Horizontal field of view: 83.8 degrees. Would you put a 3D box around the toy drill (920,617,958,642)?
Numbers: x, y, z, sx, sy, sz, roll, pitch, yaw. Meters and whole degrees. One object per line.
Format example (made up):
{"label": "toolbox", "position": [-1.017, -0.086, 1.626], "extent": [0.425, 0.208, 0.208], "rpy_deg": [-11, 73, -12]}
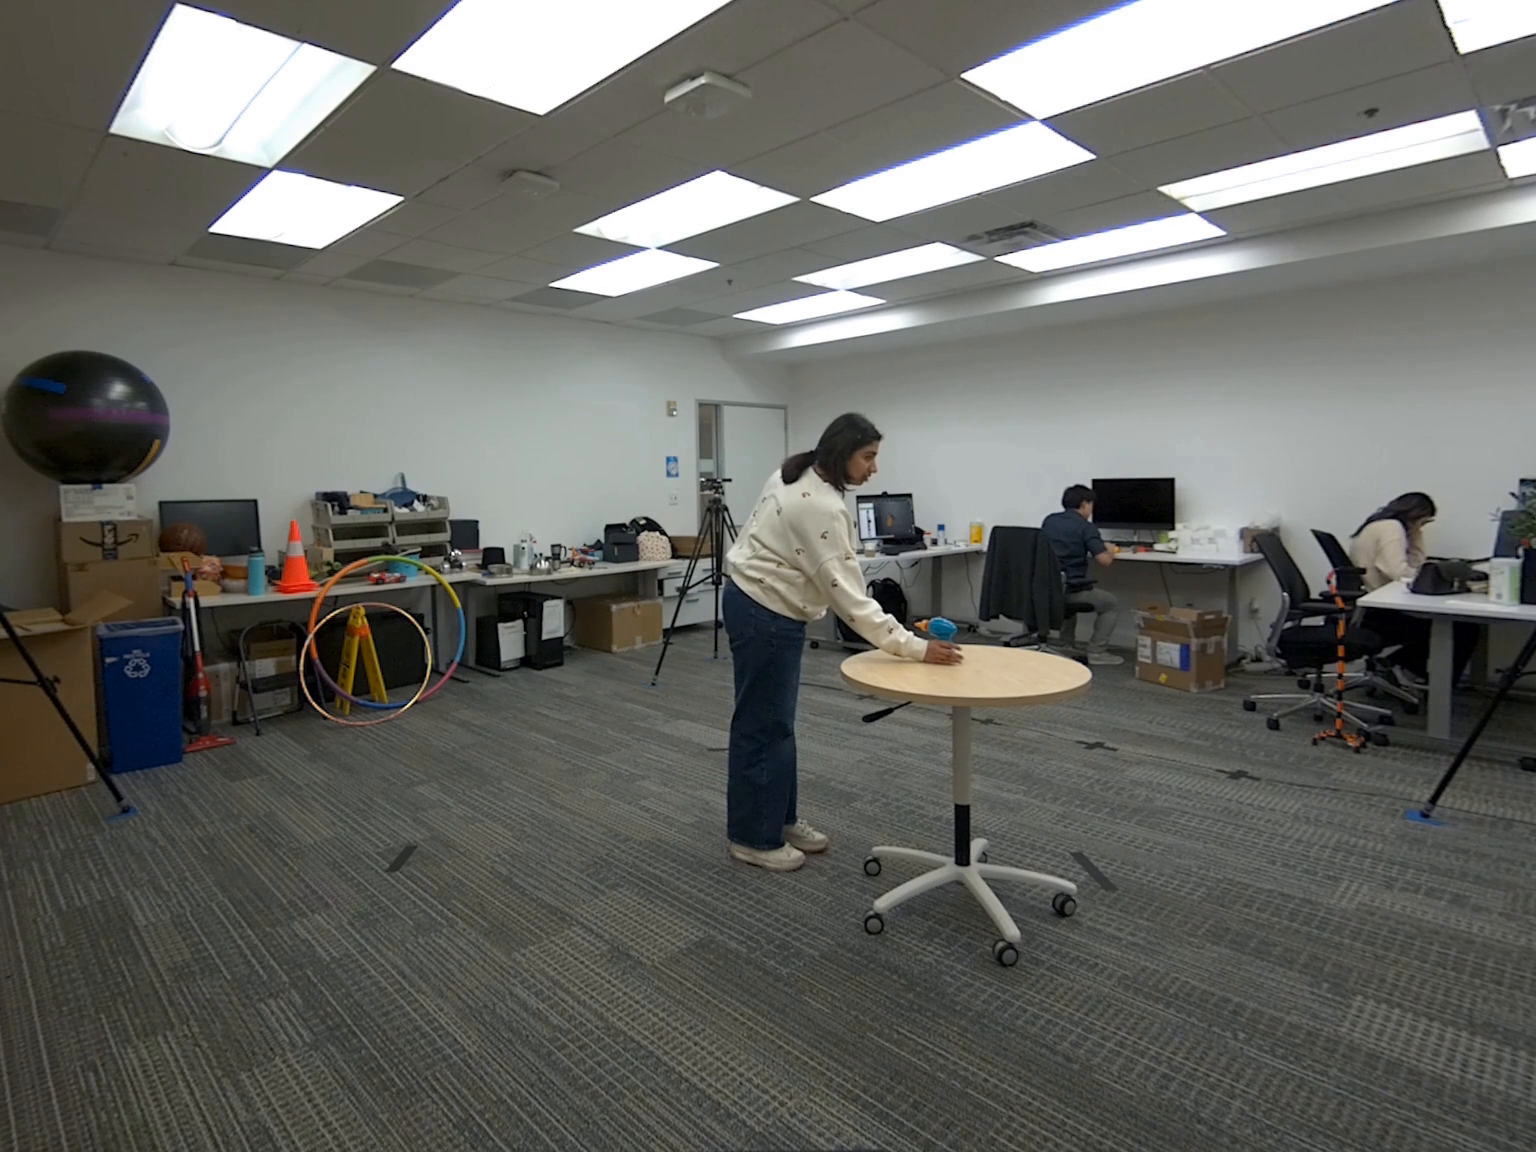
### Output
{"label": "toy drill", "position": [0.558, 0.206, 2.832], "extent": [0.059, 0.145, 0.175], "rpy_deg": [-7, 8, -40]}
